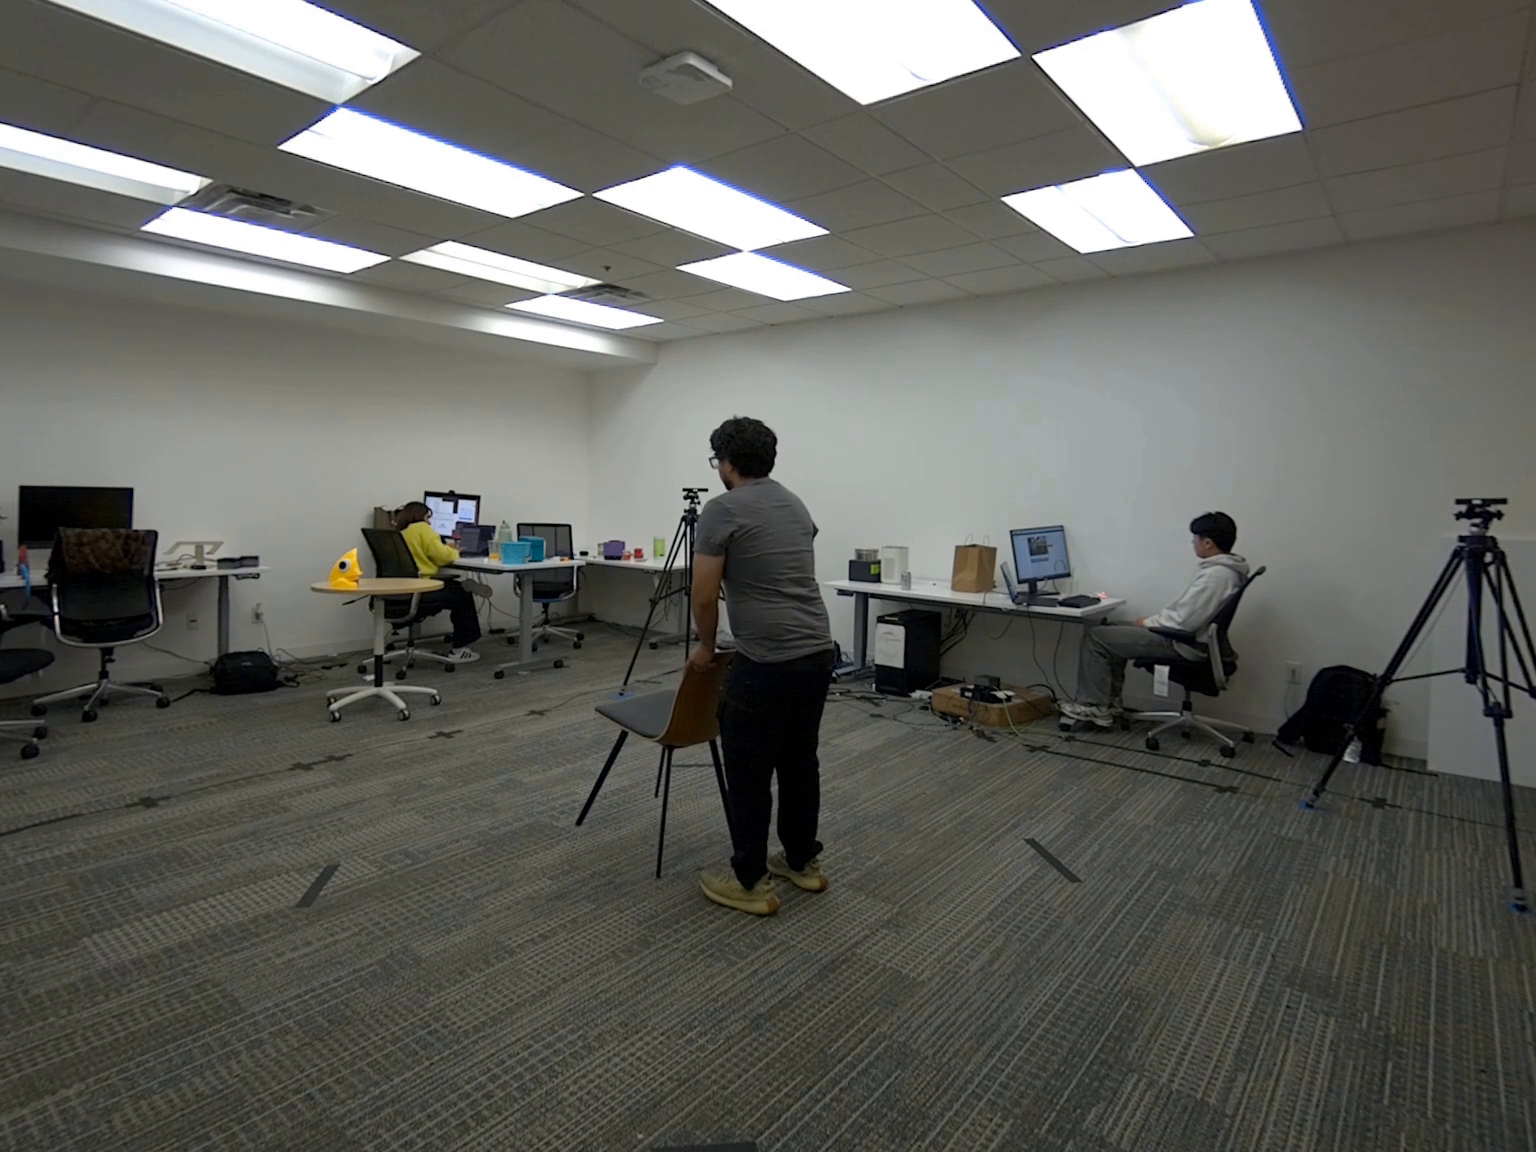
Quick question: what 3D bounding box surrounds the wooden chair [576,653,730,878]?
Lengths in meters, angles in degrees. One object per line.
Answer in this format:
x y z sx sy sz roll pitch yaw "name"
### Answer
-0.387 0.589 3.269 0.543 0.870 0.464 21 15 35 "wooden chair"
